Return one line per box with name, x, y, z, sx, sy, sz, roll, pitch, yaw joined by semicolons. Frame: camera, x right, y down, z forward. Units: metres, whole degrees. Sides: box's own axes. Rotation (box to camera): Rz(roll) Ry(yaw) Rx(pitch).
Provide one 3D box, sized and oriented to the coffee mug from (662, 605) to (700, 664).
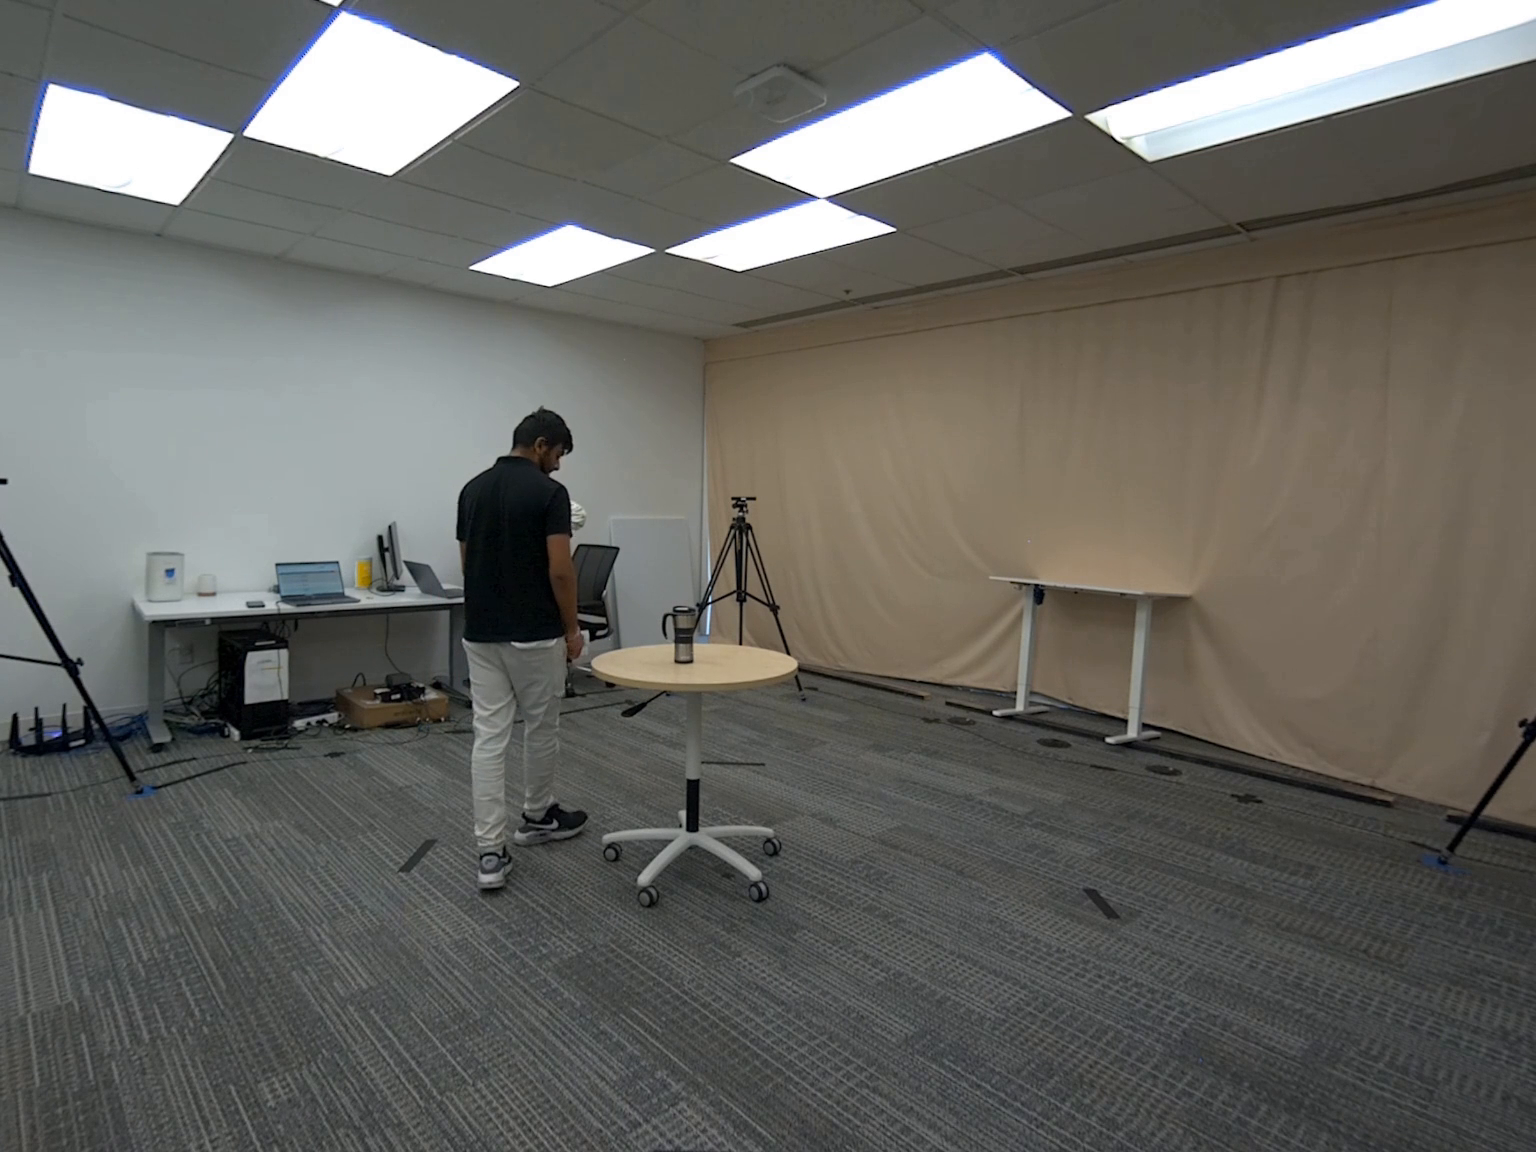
coffee mug;-0.338;0.220;3.119;0.125;0.202;0.086;5;9;29
